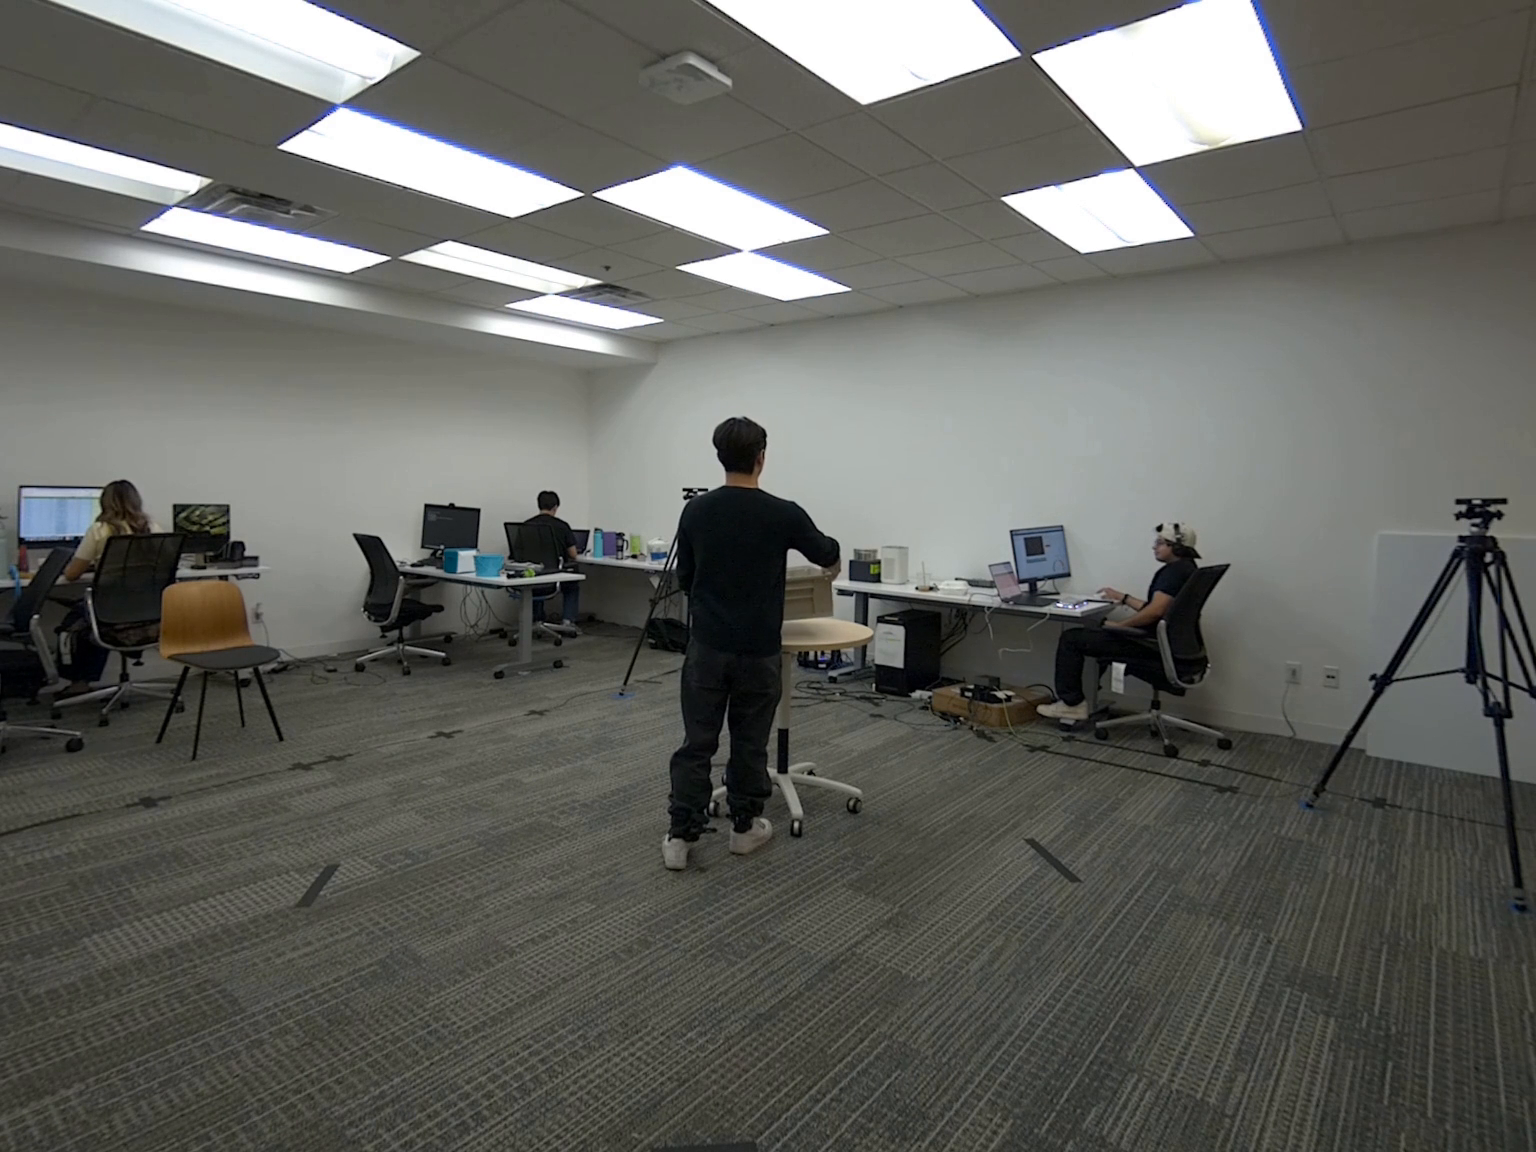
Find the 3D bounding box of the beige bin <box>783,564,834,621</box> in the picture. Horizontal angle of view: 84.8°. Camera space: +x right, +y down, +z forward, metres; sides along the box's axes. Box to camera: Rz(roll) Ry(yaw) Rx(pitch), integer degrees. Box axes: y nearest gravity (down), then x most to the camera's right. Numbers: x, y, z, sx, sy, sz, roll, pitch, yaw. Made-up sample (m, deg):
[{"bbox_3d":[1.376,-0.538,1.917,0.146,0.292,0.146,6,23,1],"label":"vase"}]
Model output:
[{"bbox_3d":[0.069,0.075,3.745,0.376,0.188,0.426,-4,5,-5],"label":"beige bin"}]
